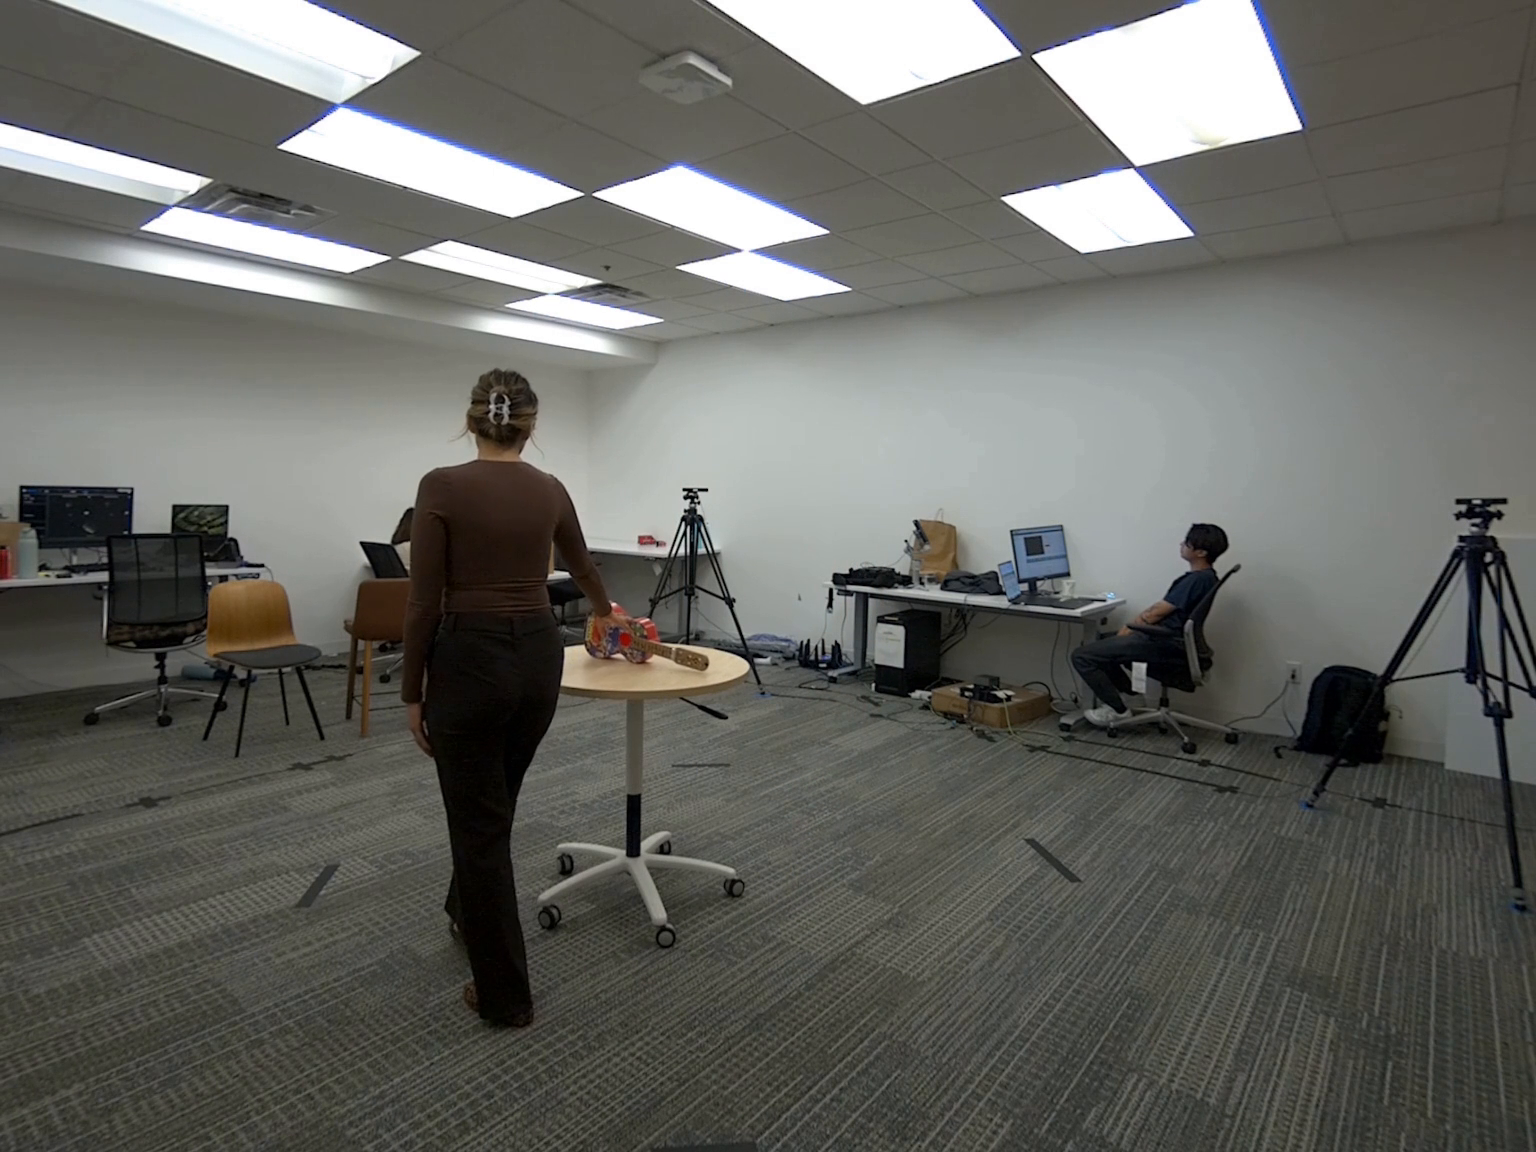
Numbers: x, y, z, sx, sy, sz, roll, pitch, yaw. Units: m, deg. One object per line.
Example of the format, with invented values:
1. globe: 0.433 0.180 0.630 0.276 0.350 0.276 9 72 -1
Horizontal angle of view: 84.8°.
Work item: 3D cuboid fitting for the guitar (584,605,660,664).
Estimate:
1. guitar: -0.423 0.250 2.861 0.513 0.191 0.069 22 13 25
